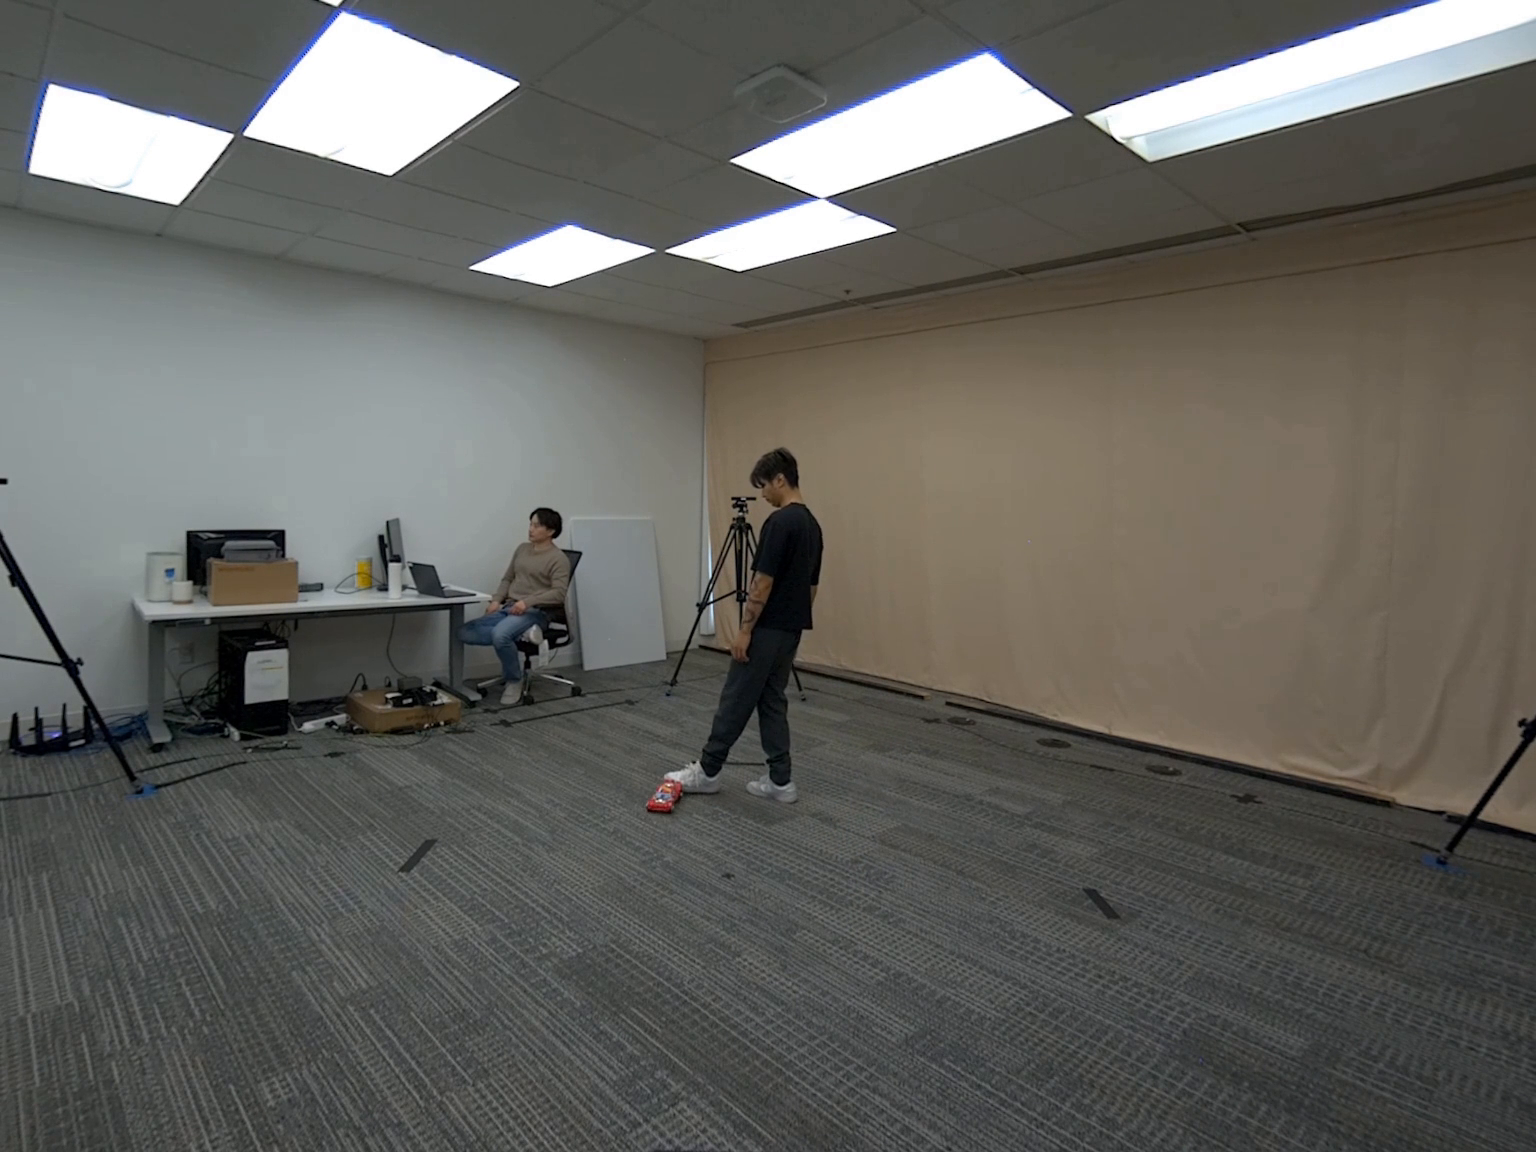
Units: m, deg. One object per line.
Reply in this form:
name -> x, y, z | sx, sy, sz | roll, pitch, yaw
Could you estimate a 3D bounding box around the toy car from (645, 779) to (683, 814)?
toy car -> -0.469, 1.002, 3.813 | 0.131, 0.082, 0.255 | 2, 19, 11
